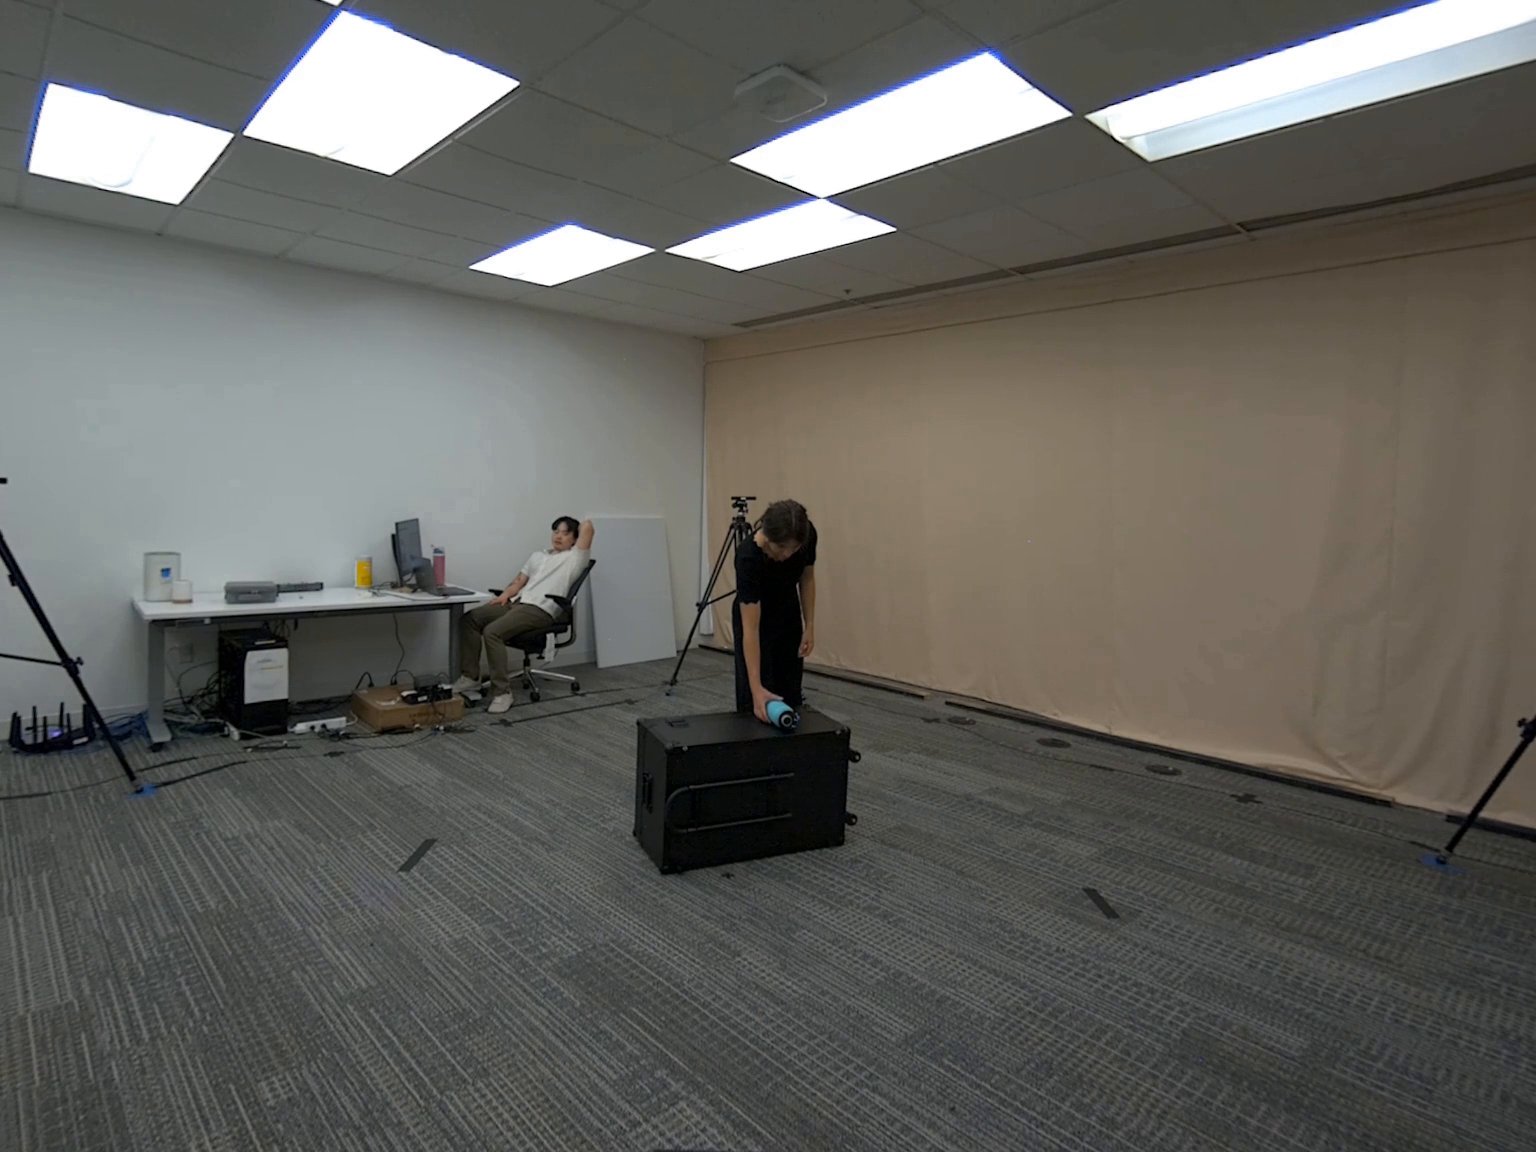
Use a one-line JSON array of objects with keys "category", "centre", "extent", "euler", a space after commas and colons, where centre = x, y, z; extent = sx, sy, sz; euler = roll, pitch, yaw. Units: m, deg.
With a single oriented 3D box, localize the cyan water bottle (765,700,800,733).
[{"category": "cyan water bottle", "centre": [0.024, 0.548, 3.415], "extent": [0.091, 0.092, 0.289], "euler": [0, 9, -22]}]
